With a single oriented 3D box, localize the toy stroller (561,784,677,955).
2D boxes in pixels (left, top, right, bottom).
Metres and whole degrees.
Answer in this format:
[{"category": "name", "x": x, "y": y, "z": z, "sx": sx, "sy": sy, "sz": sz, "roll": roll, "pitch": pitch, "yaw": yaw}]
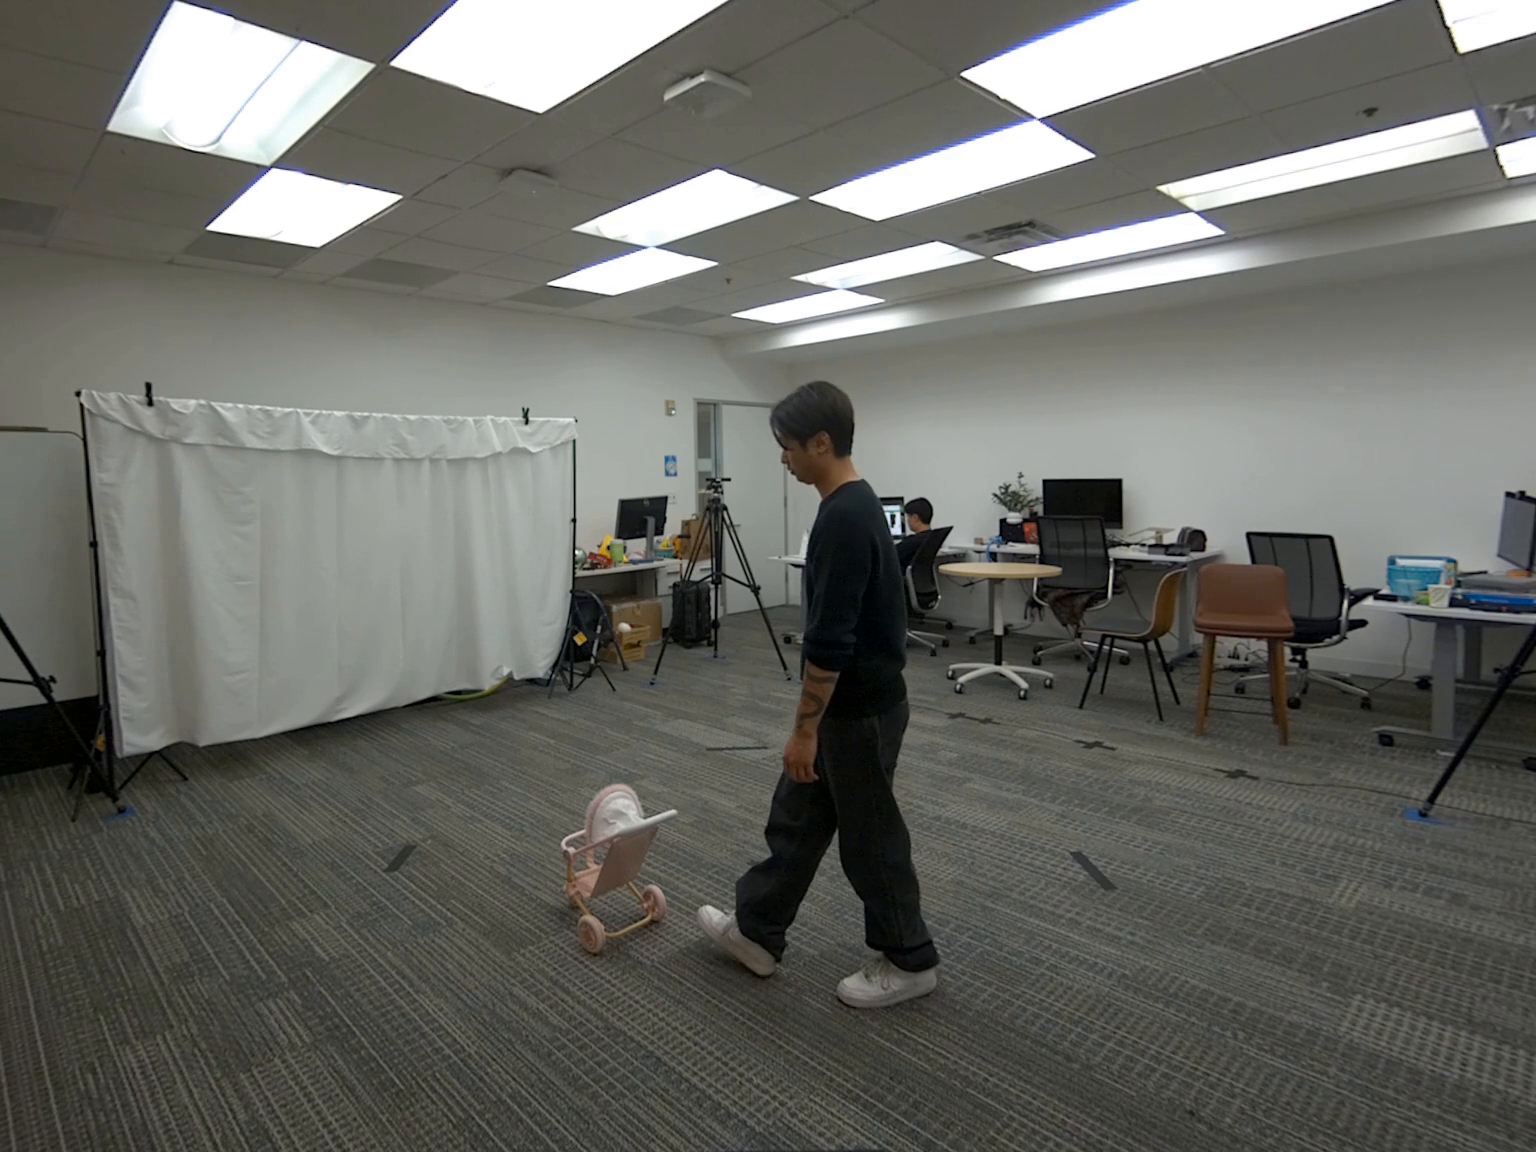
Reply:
[{"category": "toy stroller", "x": -0.486, "y": 0.883, "z": 2.660, "sx": 0.274, "sy": 0.529, "sz": 0.354, "roll": -5, "pitch": 24, "yaw": -42}]
